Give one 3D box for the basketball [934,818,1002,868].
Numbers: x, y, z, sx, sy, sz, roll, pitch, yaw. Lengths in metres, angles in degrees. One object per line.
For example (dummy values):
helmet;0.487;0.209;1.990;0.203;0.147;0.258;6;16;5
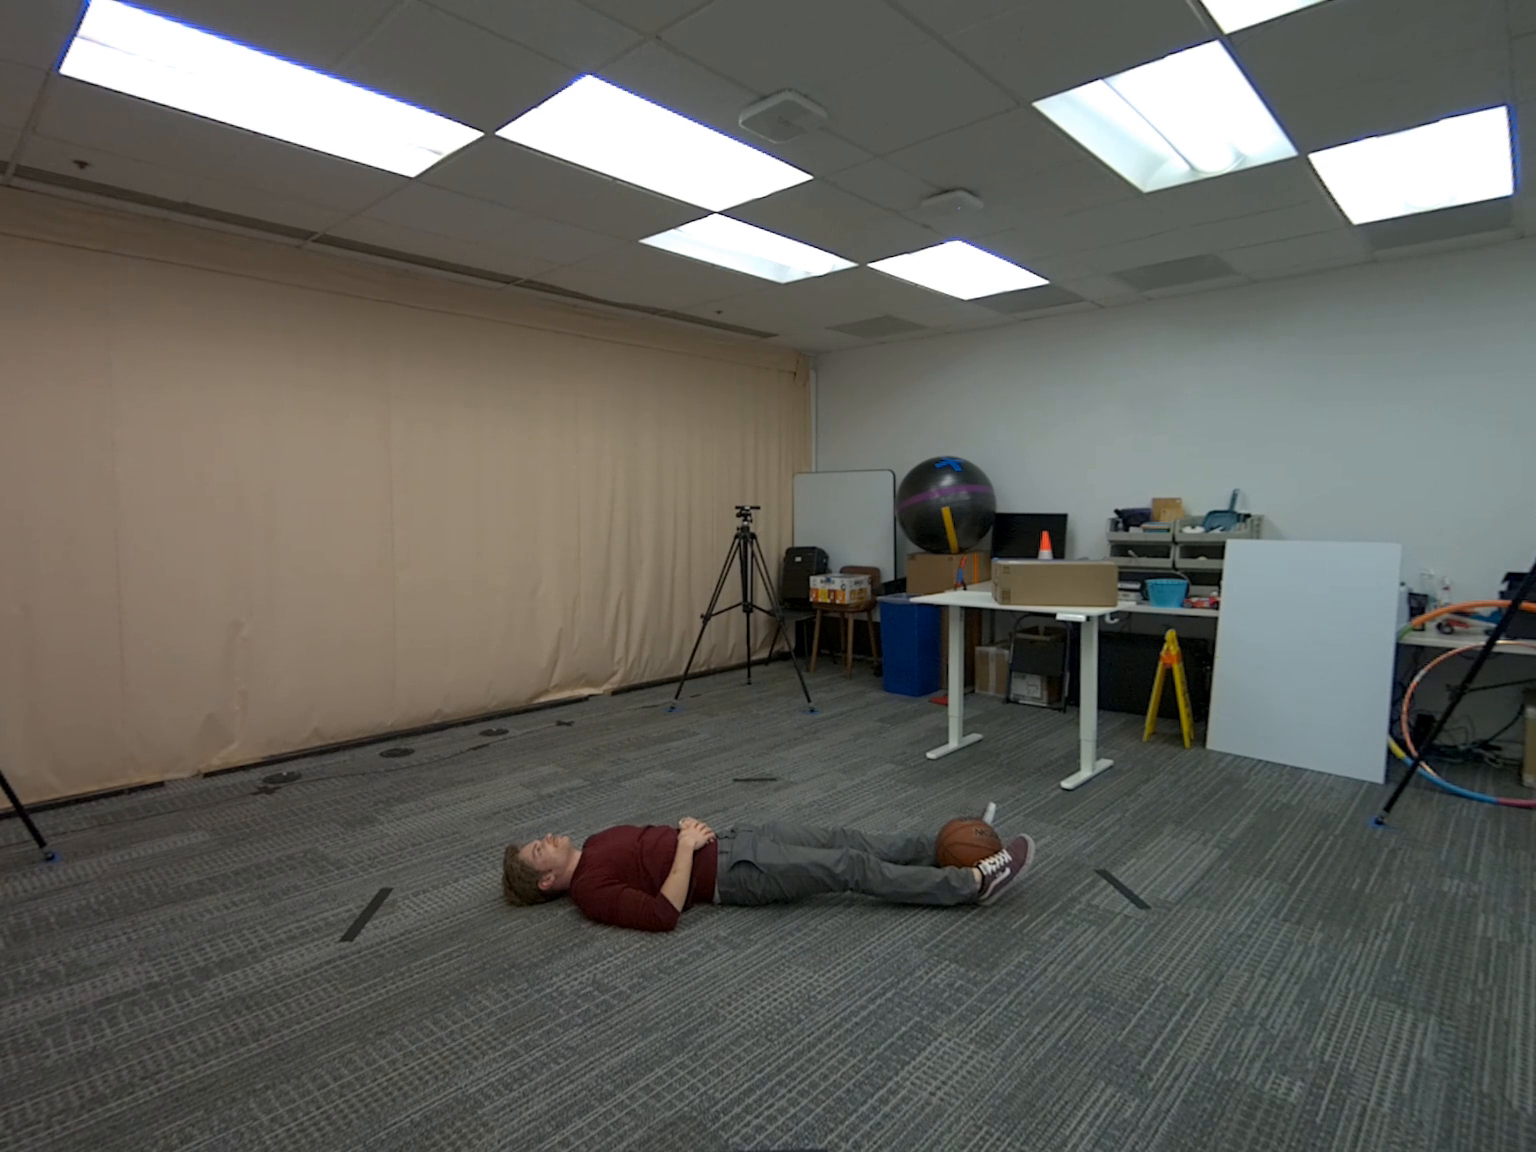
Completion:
basketball;0.741;1.001;3.063;0.235;0.235;0.237;3;5;-2
